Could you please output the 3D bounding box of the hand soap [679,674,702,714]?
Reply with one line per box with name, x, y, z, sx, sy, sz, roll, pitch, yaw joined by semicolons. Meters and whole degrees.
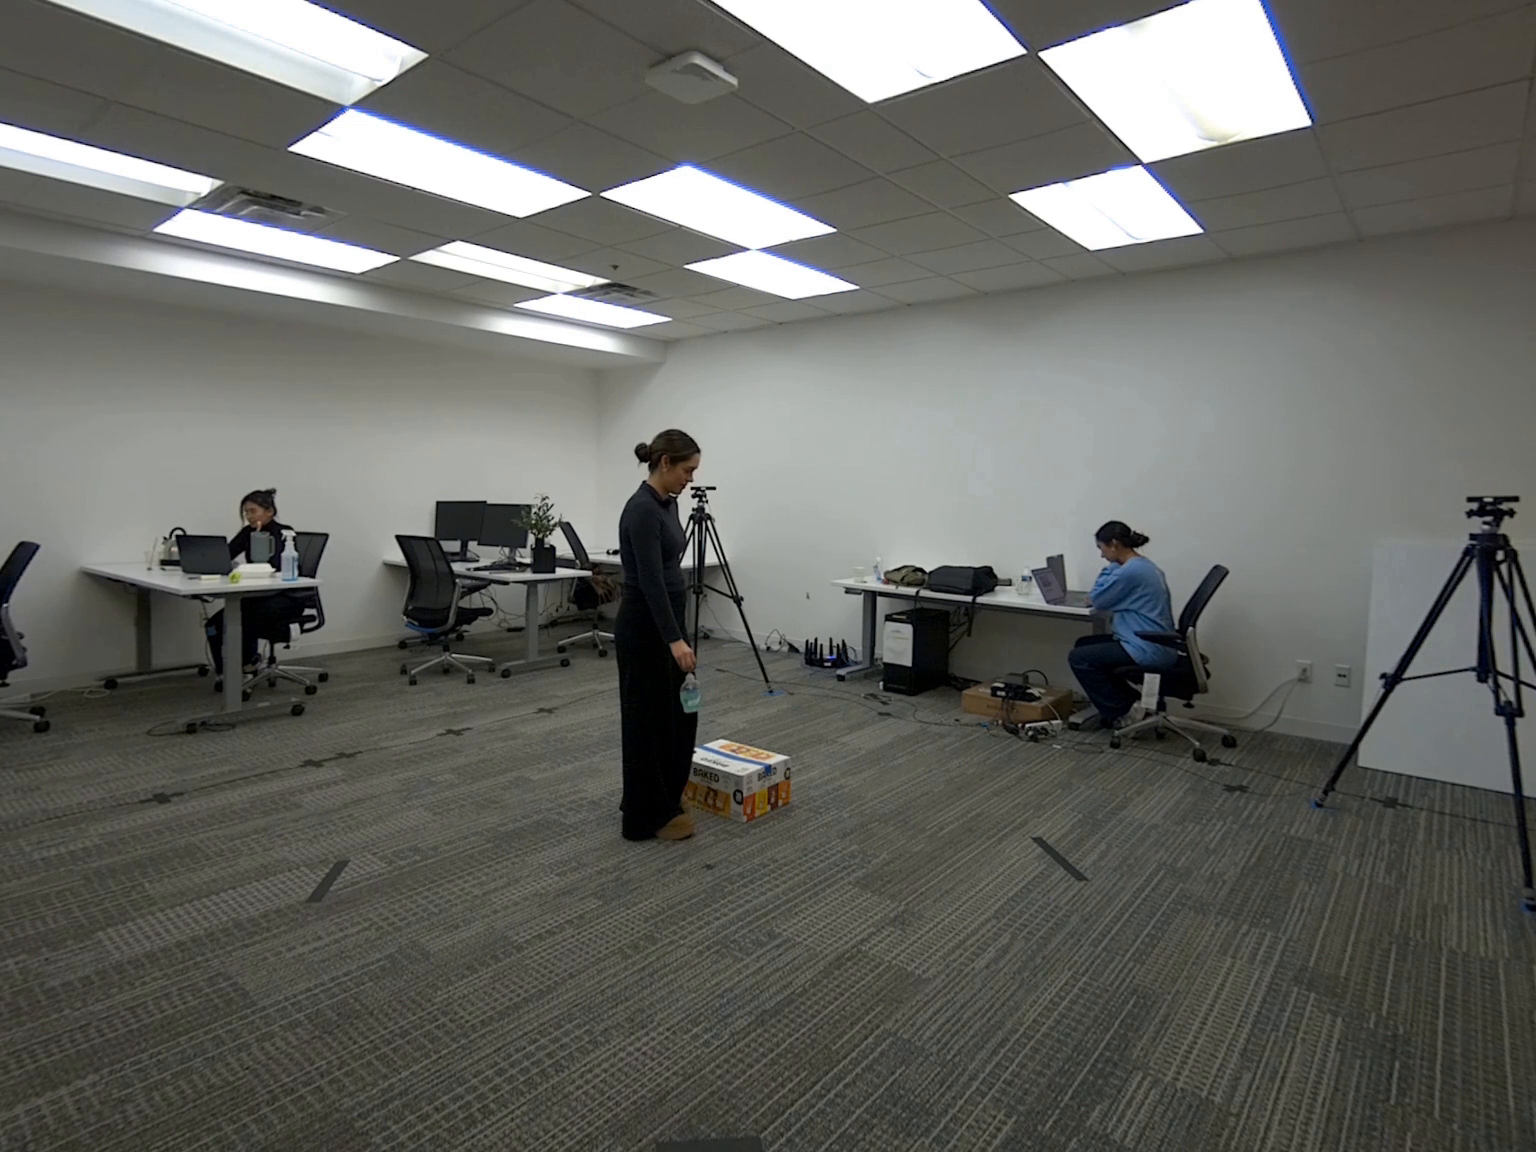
hand soap;-0.298;0.415;3.134;0.082;0.167;0.044;-4;4;-26
